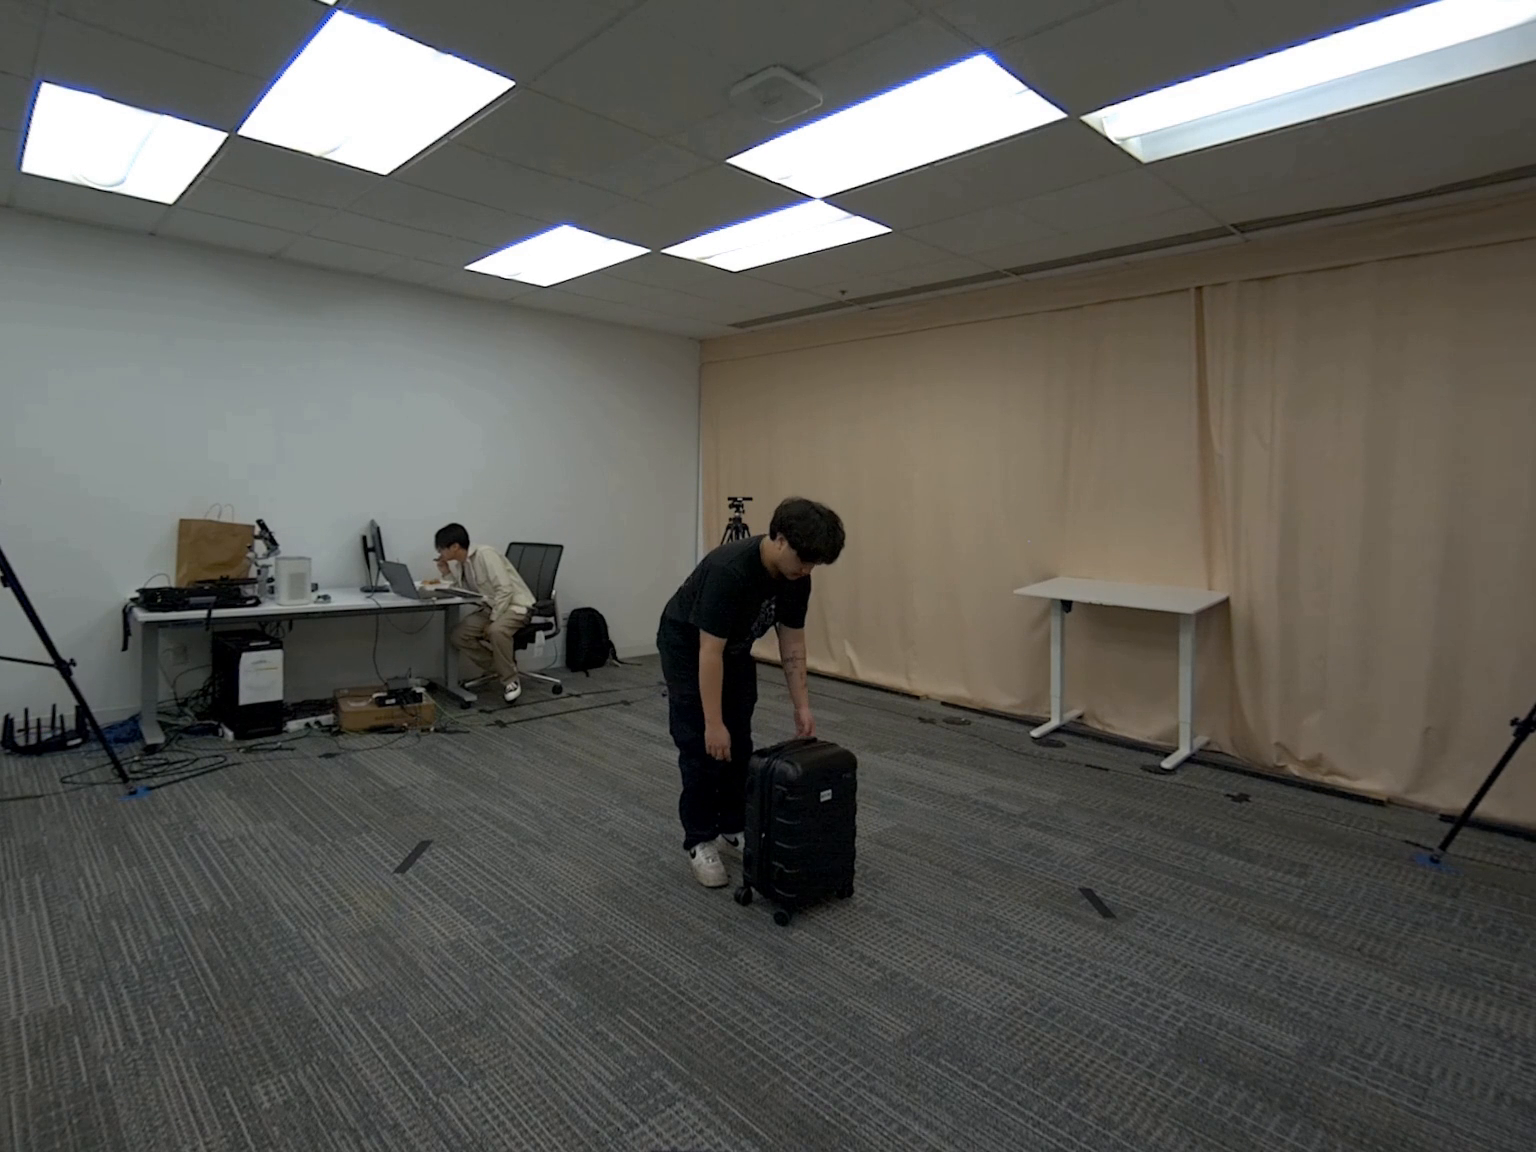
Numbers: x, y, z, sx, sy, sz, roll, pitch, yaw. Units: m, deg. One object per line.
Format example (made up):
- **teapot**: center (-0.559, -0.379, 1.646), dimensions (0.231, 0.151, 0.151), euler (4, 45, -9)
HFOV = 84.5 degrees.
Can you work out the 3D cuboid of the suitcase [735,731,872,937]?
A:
- **suitcase**: center (0.121, 0.861, 2.907), dimensions (0.367, 0.548, 0.255), euler (-1, 5, -41)
